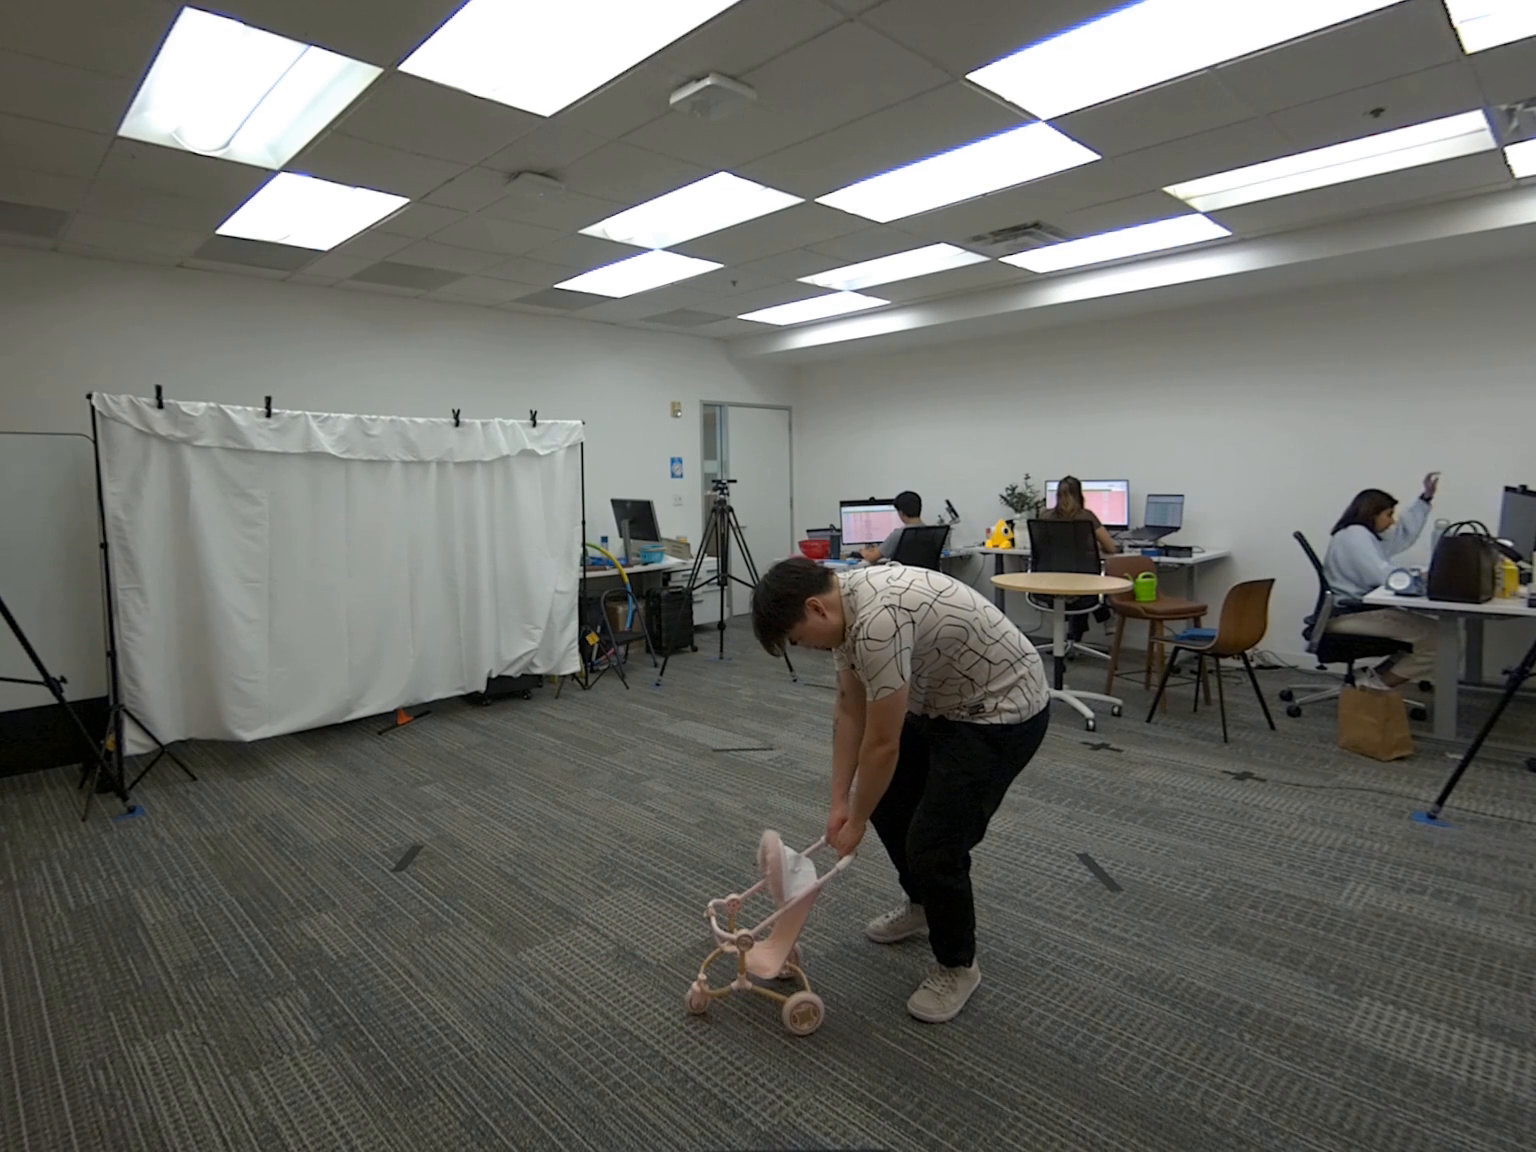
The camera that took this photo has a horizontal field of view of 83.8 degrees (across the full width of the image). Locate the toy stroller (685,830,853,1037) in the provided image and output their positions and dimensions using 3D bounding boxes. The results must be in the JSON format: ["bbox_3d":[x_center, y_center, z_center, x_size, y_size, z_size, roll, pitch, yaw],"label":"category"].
[{"bbox_3d":[0.006,0.920,2.257,0.339,0.534,0.283,15,2,-6],"label":"toy stroller"}]
